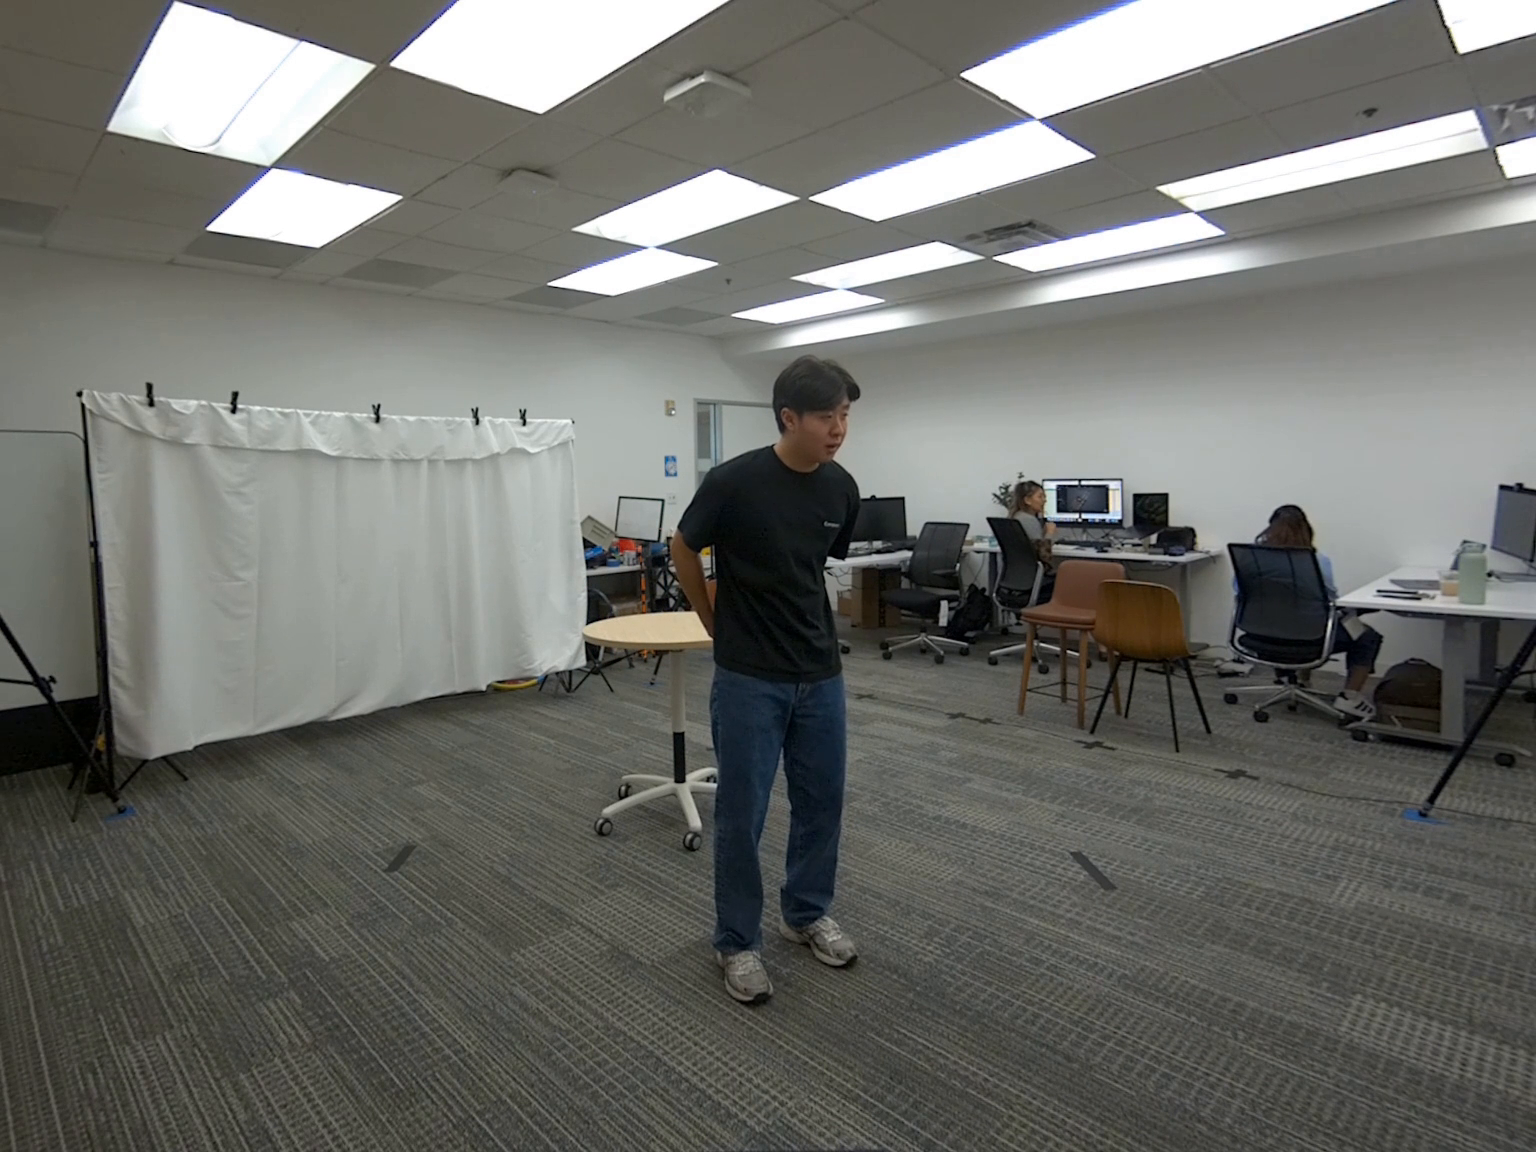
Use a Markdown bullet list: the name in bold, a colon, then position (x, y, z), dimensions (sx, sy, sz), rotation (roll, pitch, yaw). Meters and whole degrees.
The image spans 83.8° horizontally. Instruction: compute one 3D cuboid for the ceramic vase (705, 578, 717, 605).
- **ceramic vase**: position (-0.100, 0.116, 2.681), dimensions (0.159, 0.221, 0.133), rotation (-14, -6, 0)
